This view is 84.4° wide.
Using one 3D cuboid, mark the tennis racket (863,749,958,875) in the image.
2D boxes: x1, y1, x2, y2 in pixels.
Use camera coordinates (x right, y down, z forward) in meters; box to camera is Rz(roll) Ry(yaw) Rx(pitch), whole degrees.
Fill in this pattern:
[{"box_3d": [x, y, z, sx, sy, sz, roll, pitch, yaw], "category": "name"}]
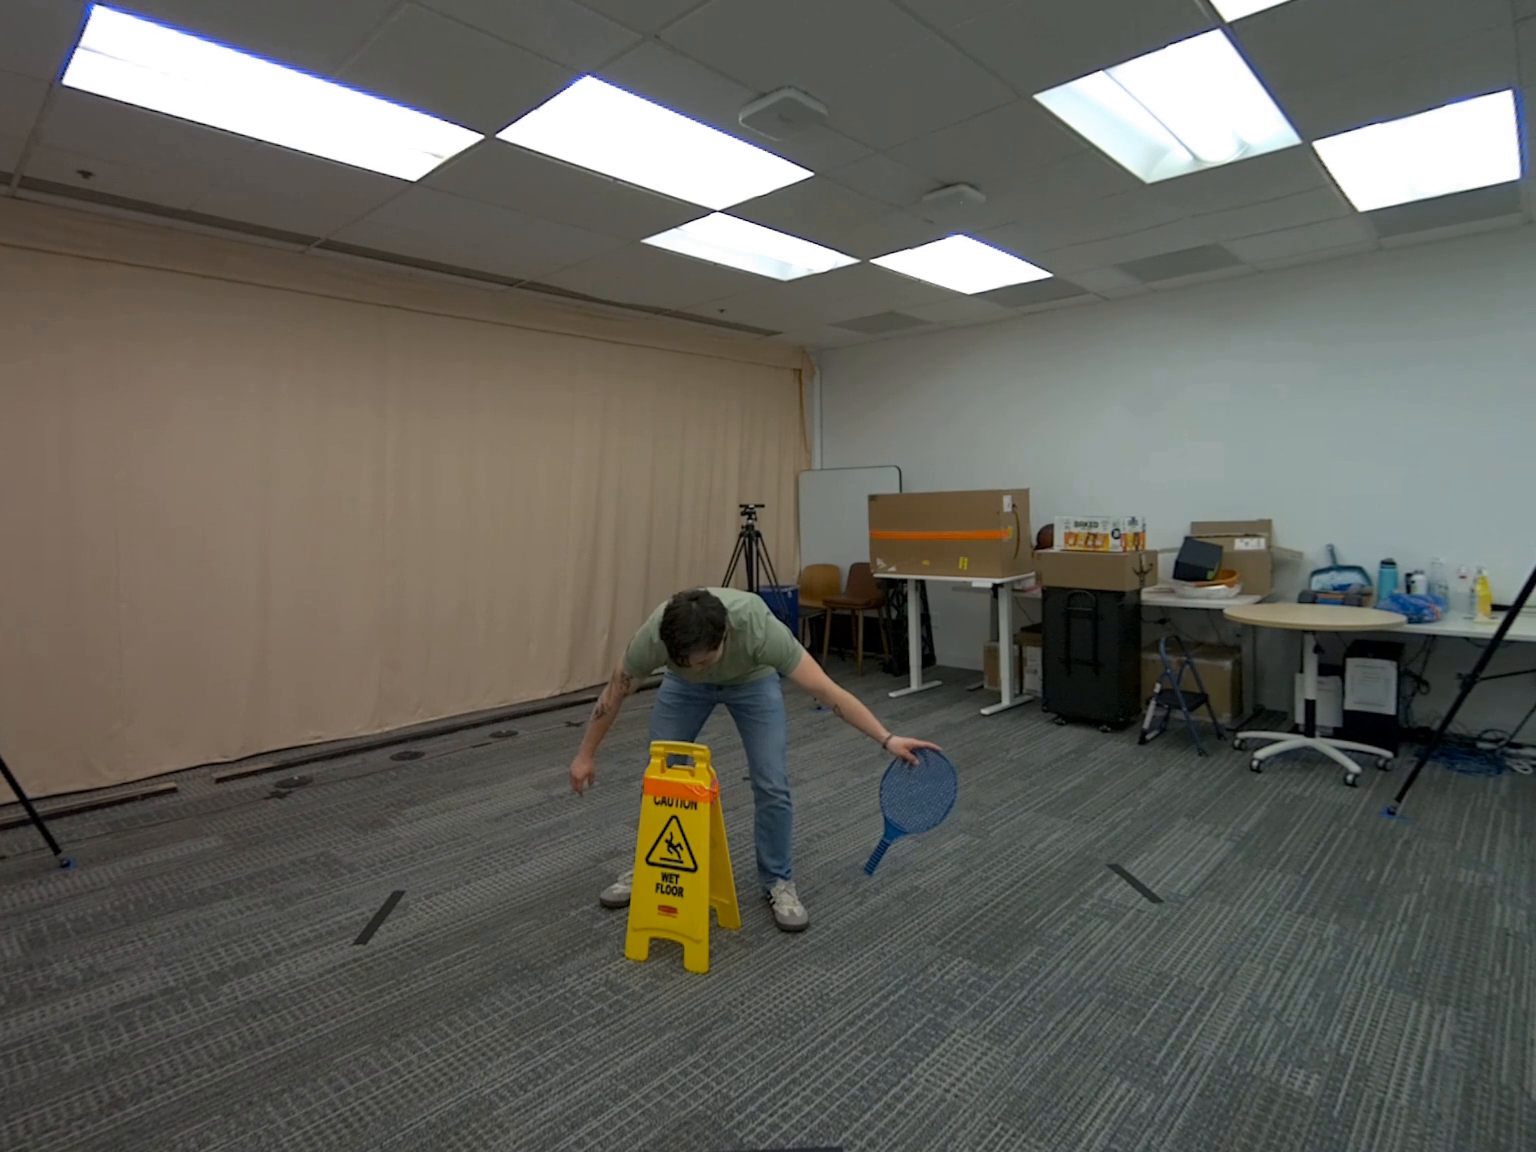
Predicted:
[{"box_3d": [0.405, 0.716, 2.525, 0.218, 0.433, 0.031, 30, 8, 18], "category": "tennis racket"}]
